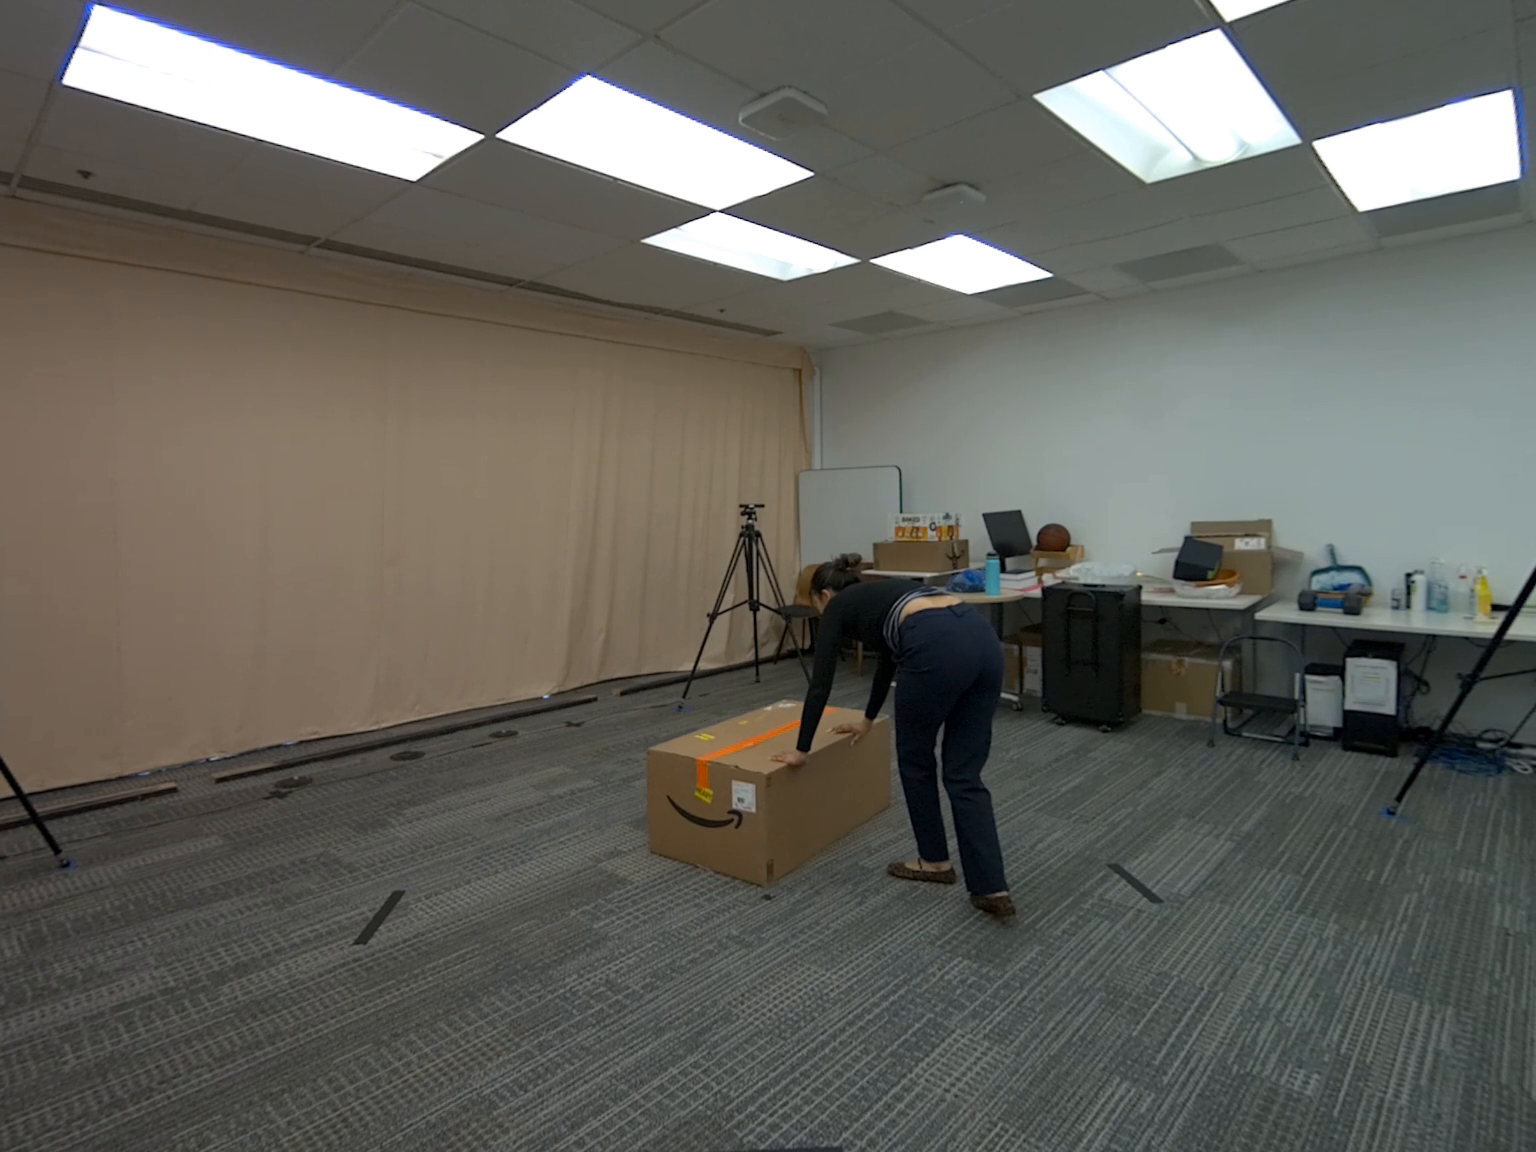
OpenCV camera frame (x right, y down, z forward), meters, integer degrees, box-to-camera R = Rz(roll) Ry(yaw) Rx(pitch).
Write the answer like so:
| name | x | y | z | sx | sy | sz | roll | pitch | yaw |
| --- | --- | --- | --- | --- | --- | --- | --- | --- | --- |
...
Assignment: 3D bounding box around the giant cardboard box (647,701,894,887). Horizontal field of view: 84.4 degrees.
| name | x | y | z | sx | sy | sz | roll | pitch | yaw |
| --- | --- | --- | --- | --- | --- | --- | --- | --- | --- |
| giant cardboard box | 0.039 | 0.873 | 3.618 | 0.596 | 0.425 | 0.996 | 3 | 6 | 35 |
